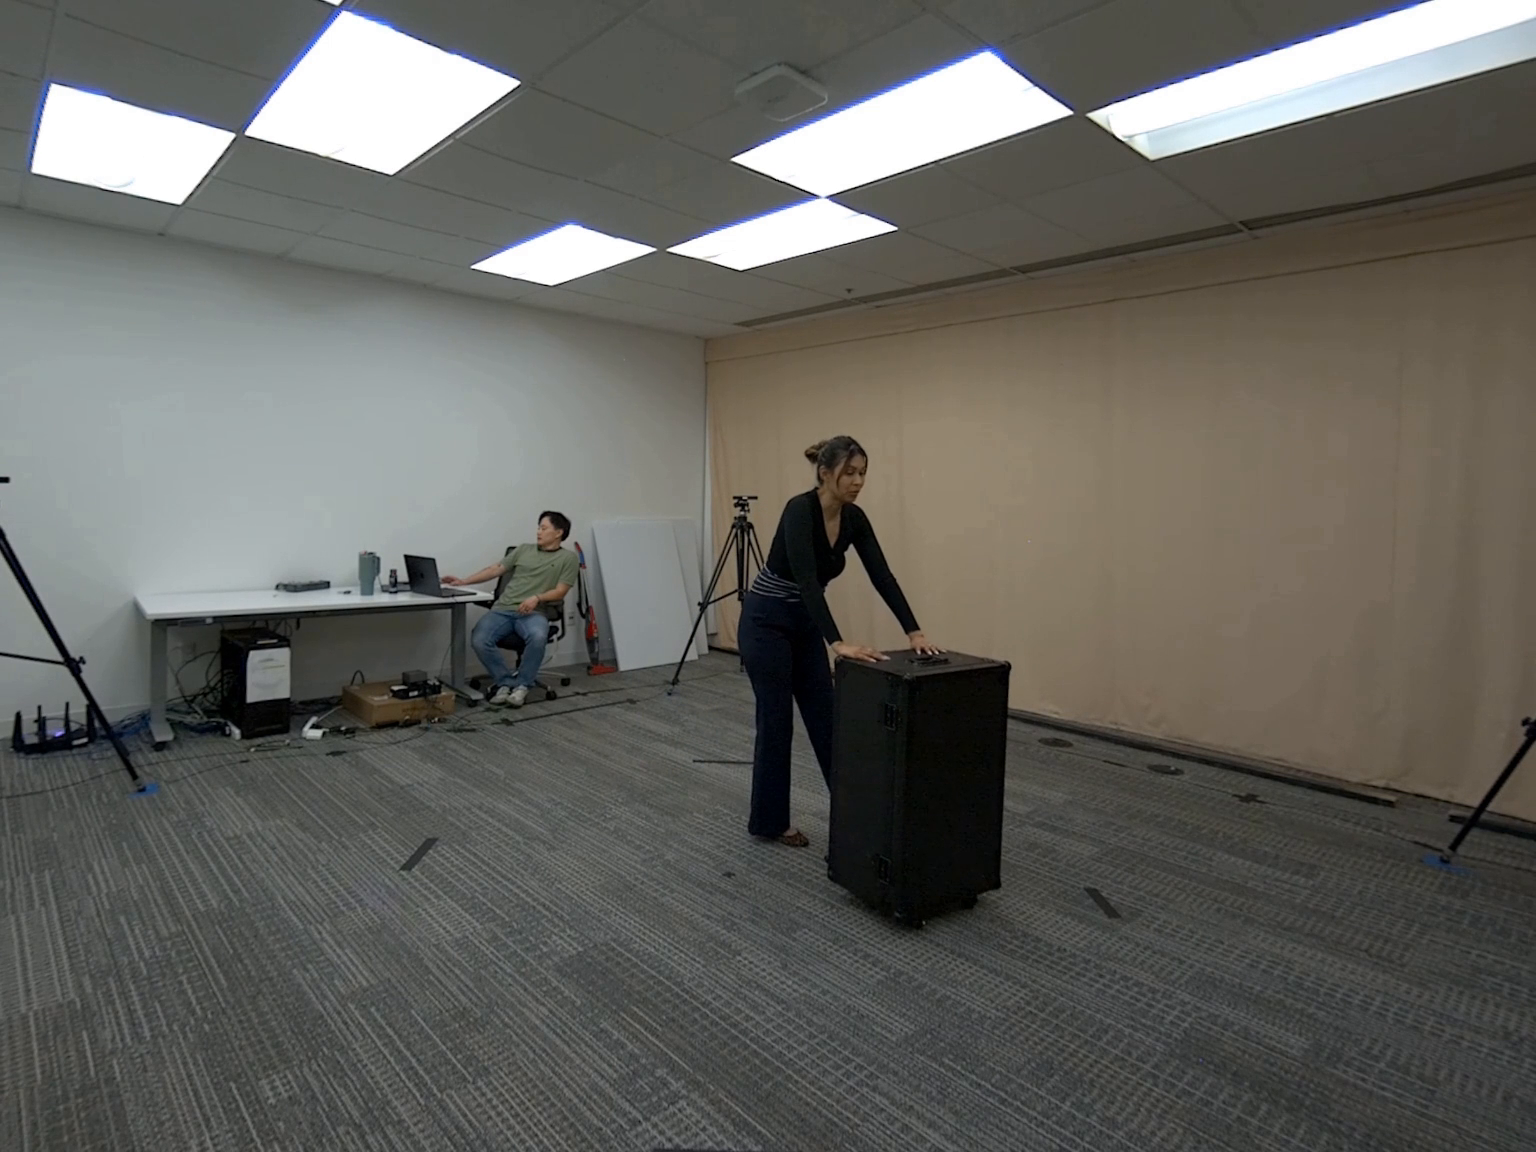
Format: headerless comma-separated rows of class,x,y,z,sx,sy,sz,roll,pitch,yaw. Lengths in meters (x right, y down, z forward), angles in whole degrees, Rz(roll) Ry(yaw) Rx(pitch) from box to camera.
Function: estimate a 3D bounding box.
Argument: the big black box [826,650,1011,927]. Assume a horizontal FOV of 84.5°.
big black box,0.498,0.710,2.896,0.510,0.859,0.406,-1,4,-34
